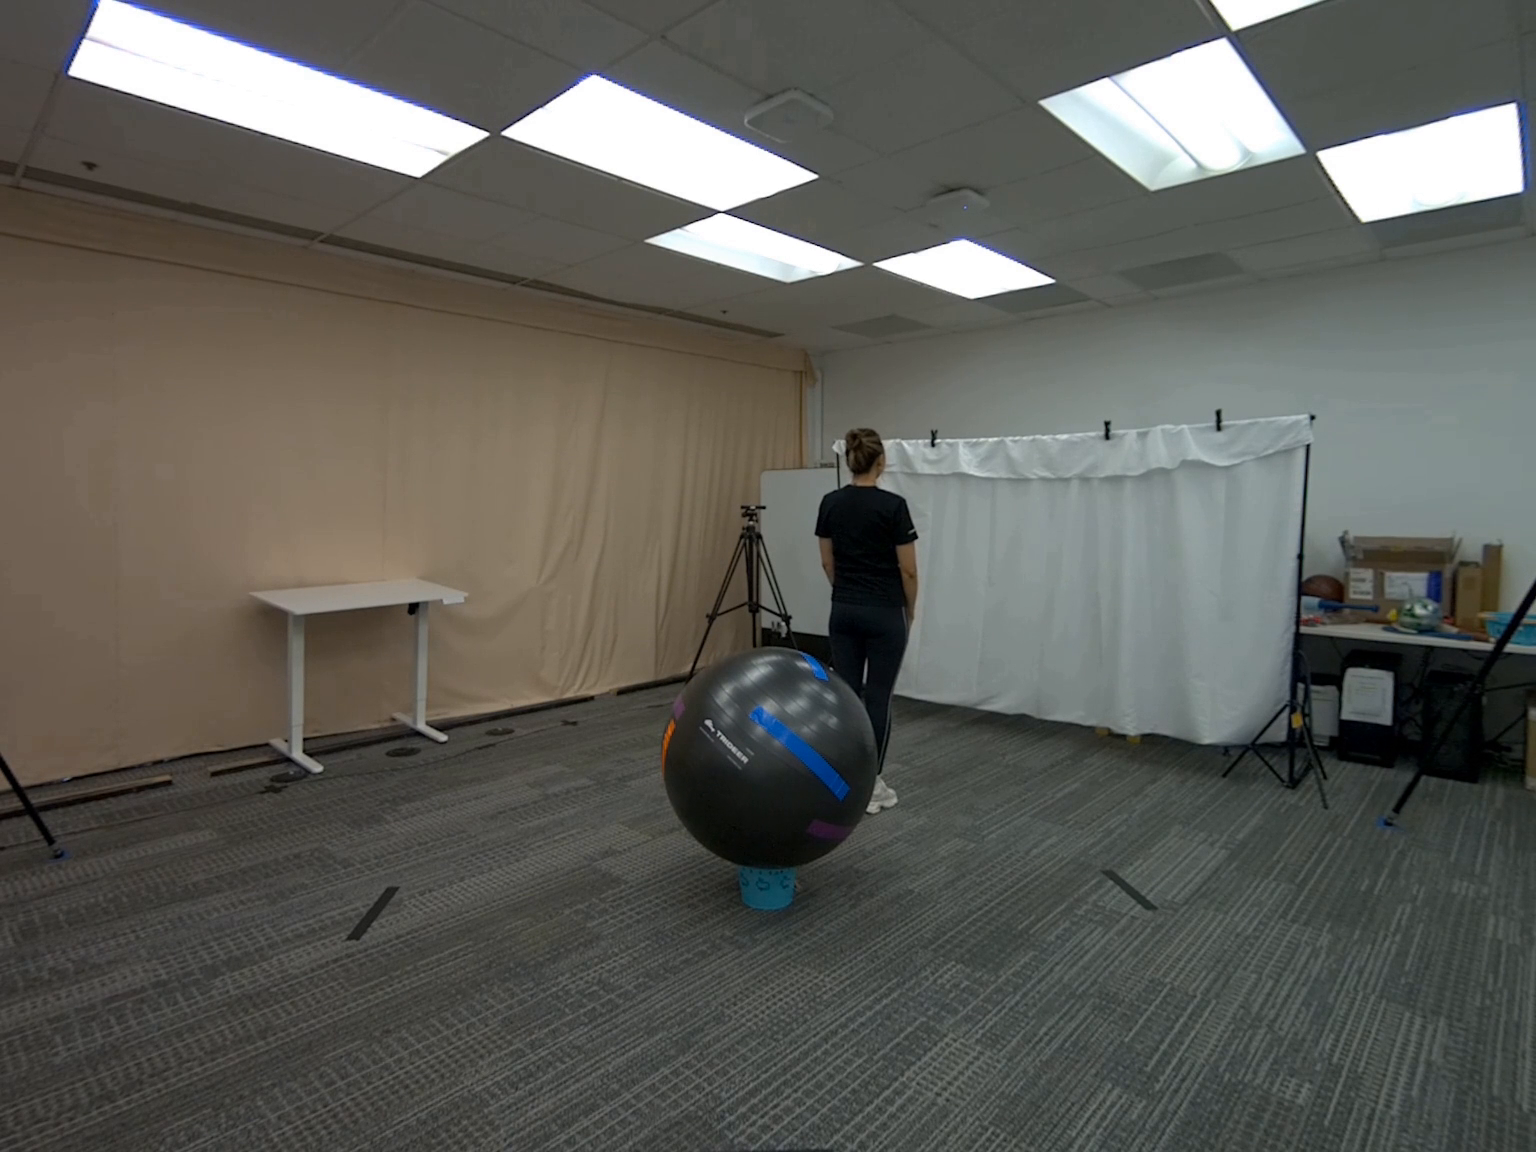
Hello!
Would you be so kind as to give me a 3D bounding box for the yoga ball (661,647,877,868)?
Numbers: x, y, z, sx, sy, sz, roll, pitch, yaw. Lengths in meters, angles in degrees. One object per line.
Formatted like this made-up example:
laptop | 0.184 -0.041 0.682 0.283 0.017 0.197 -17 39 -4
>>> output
yoga ball | 0.006 0.635 2.965 0.757 0.756 0.760 0 4 -2
